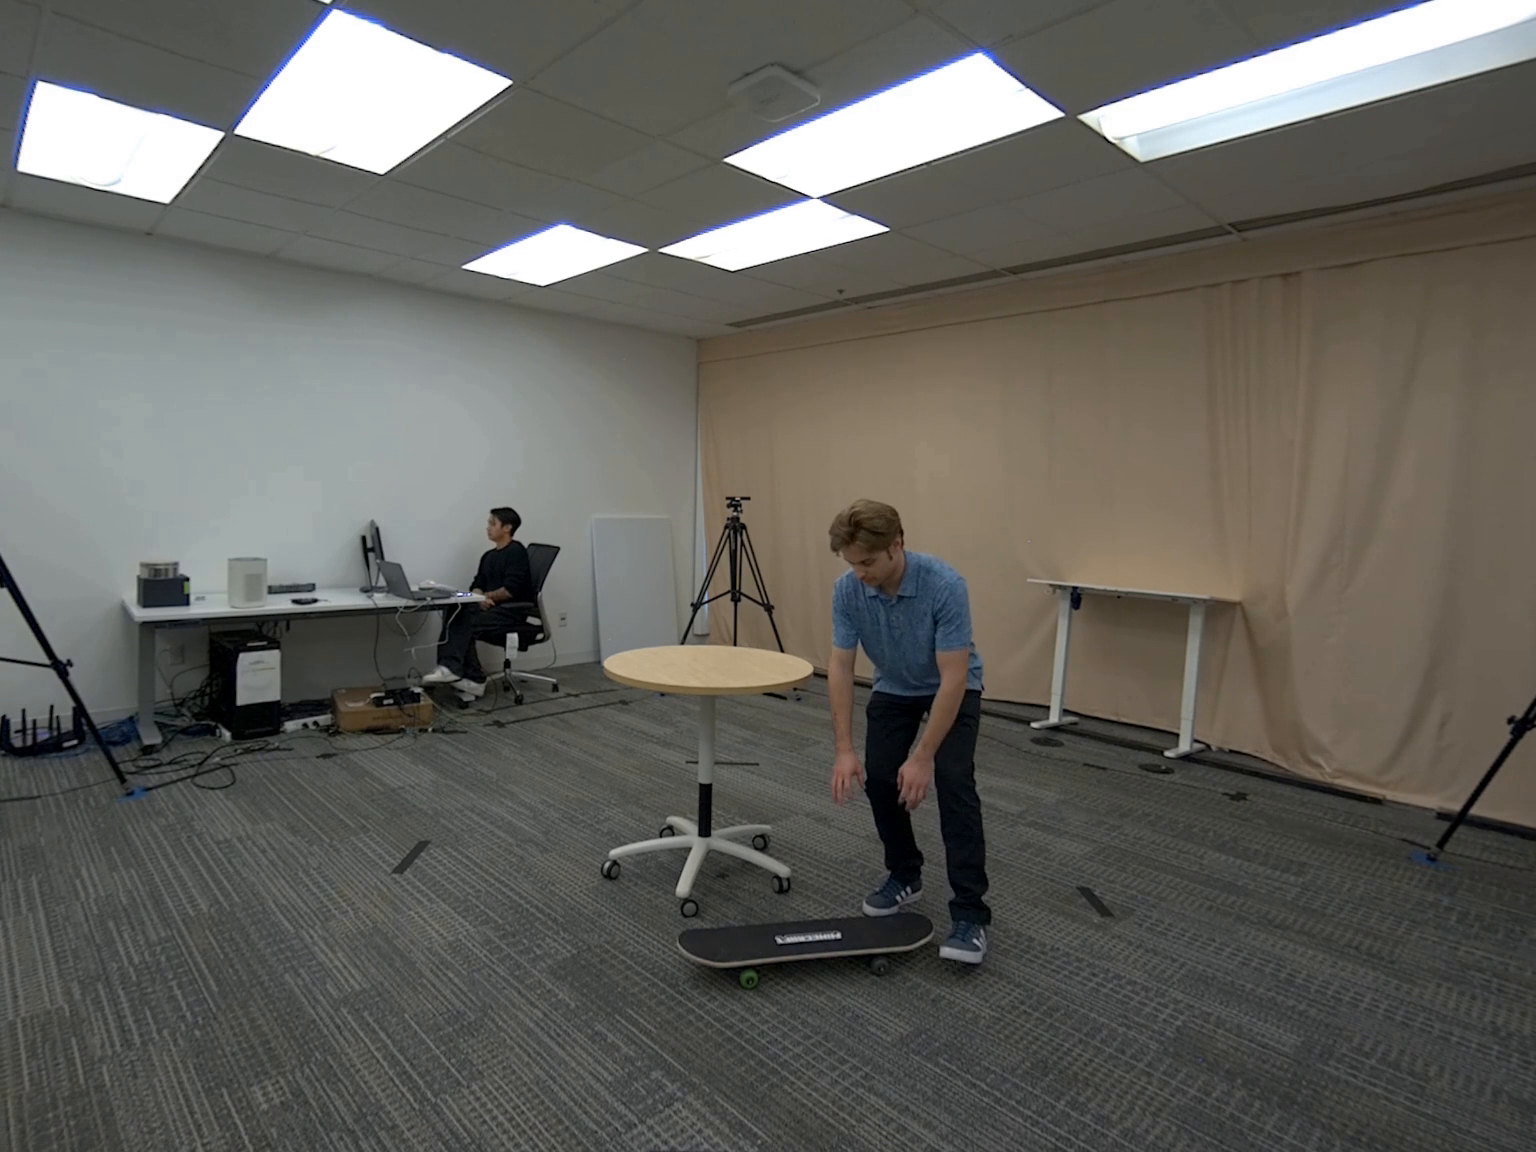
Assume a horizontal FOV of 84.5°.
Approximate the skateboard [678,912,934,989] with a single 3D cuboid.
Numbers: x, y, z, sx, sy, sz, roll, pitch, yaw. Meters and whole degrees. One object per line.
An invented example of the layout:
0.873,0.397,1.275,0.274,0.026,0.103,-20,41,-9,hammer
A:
0.117,1.116,2.504,0.778,0.110,0.196,1,5,-11,skateboard
